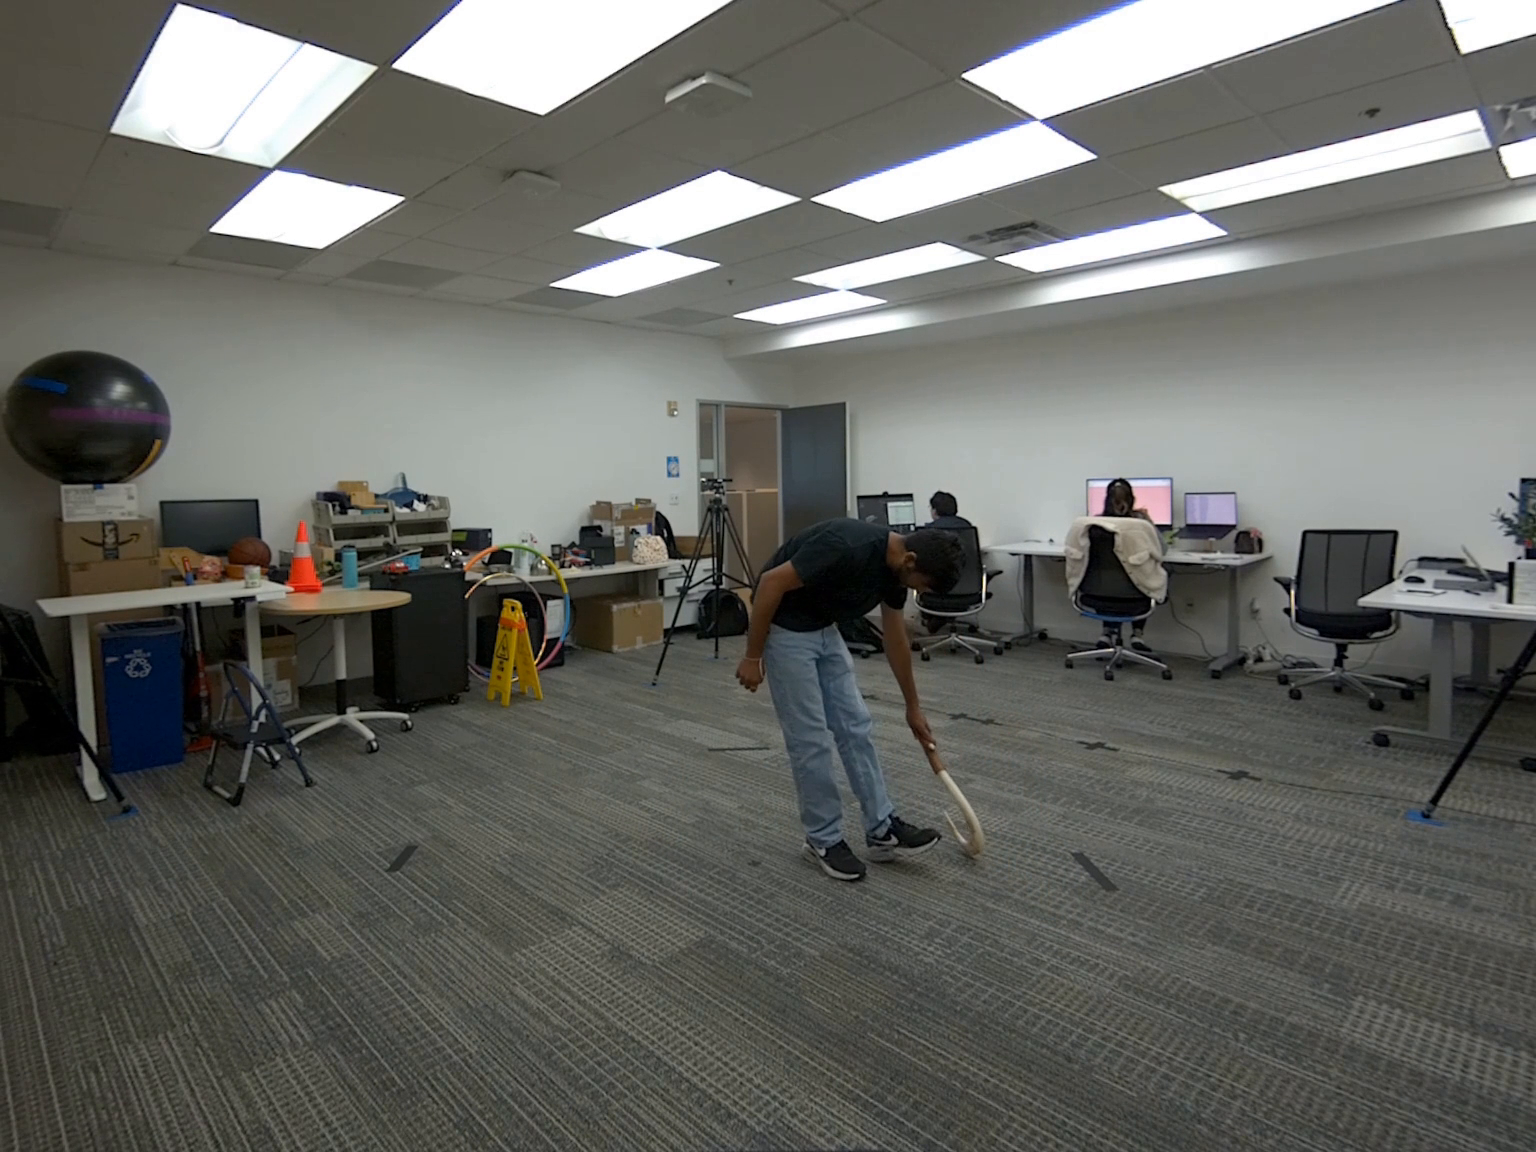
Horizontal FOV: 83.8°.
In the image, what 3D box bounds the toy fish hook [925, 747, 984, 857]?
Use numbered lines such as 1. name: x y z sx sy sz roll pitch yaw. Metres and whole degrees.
1. toy fish hook: 0.659 0.801 3.213 0.047 0.523 0.220 -11 -33 -20
